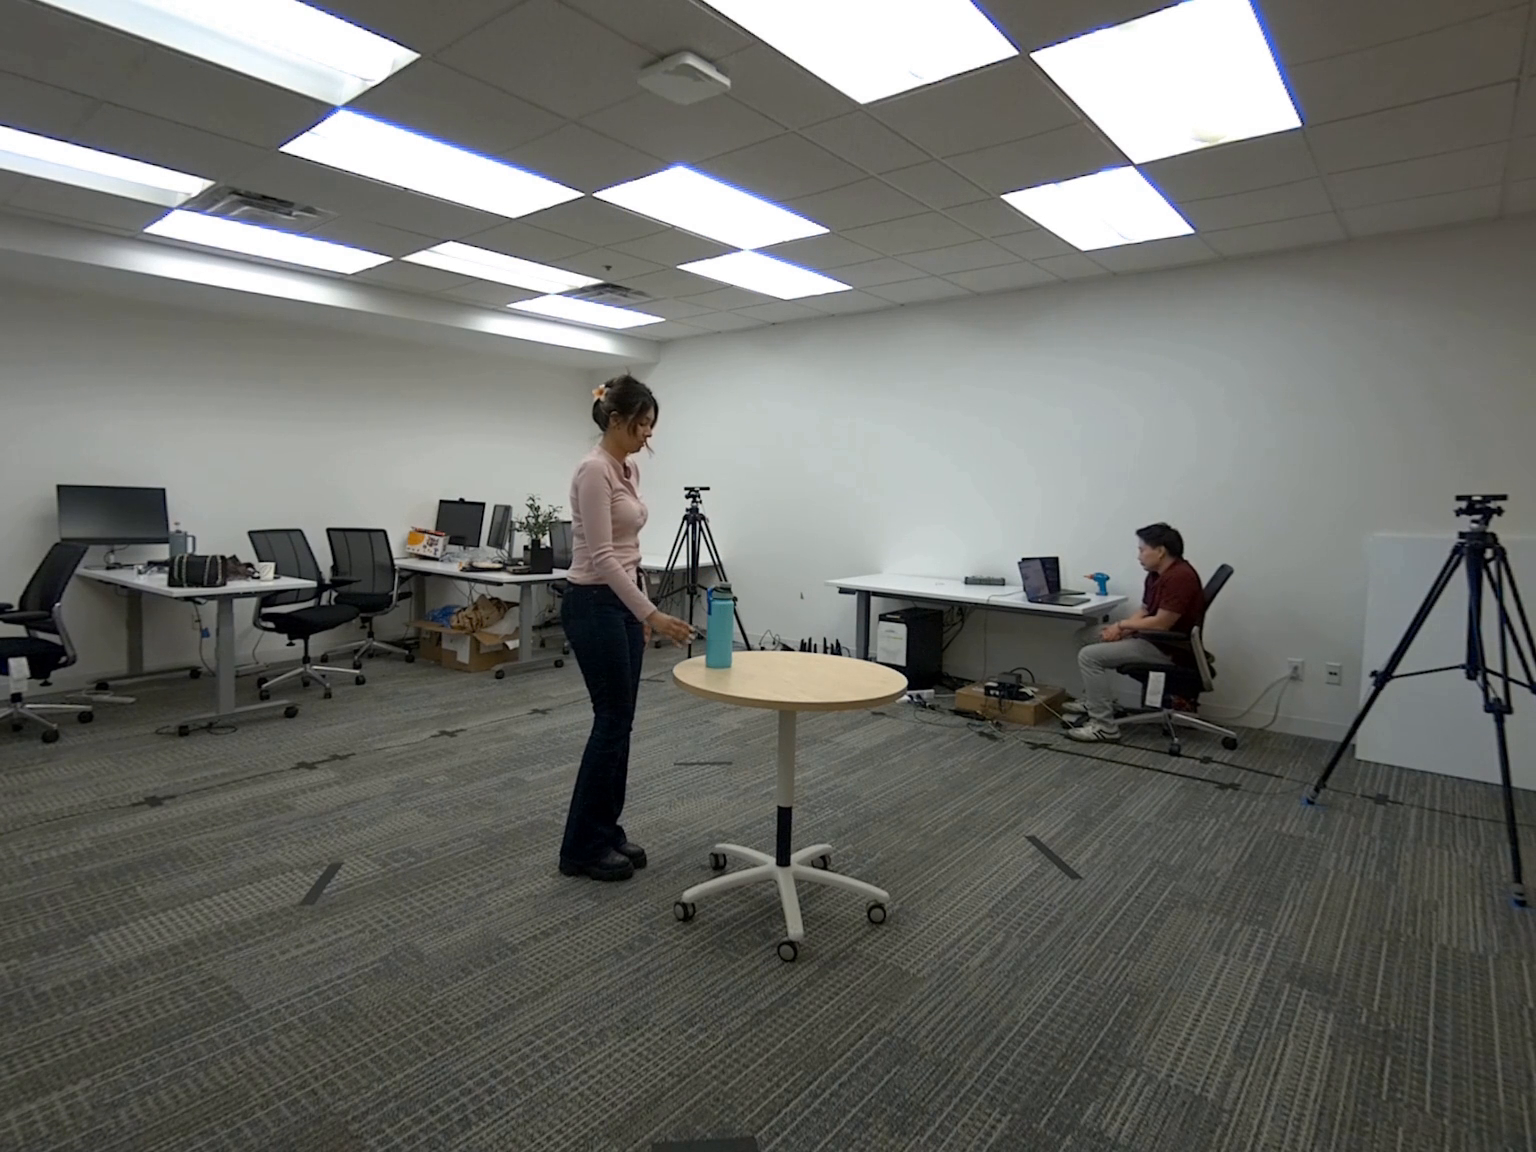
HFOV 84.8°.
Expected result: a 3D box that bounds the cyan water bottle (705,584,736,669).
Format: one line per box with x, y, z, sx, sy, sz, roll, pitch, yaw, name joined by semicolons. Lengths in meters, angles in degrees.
-0.177;0.166;2.878;0.092;0.283;0.092;-2;1;-2;cyan water bottle
